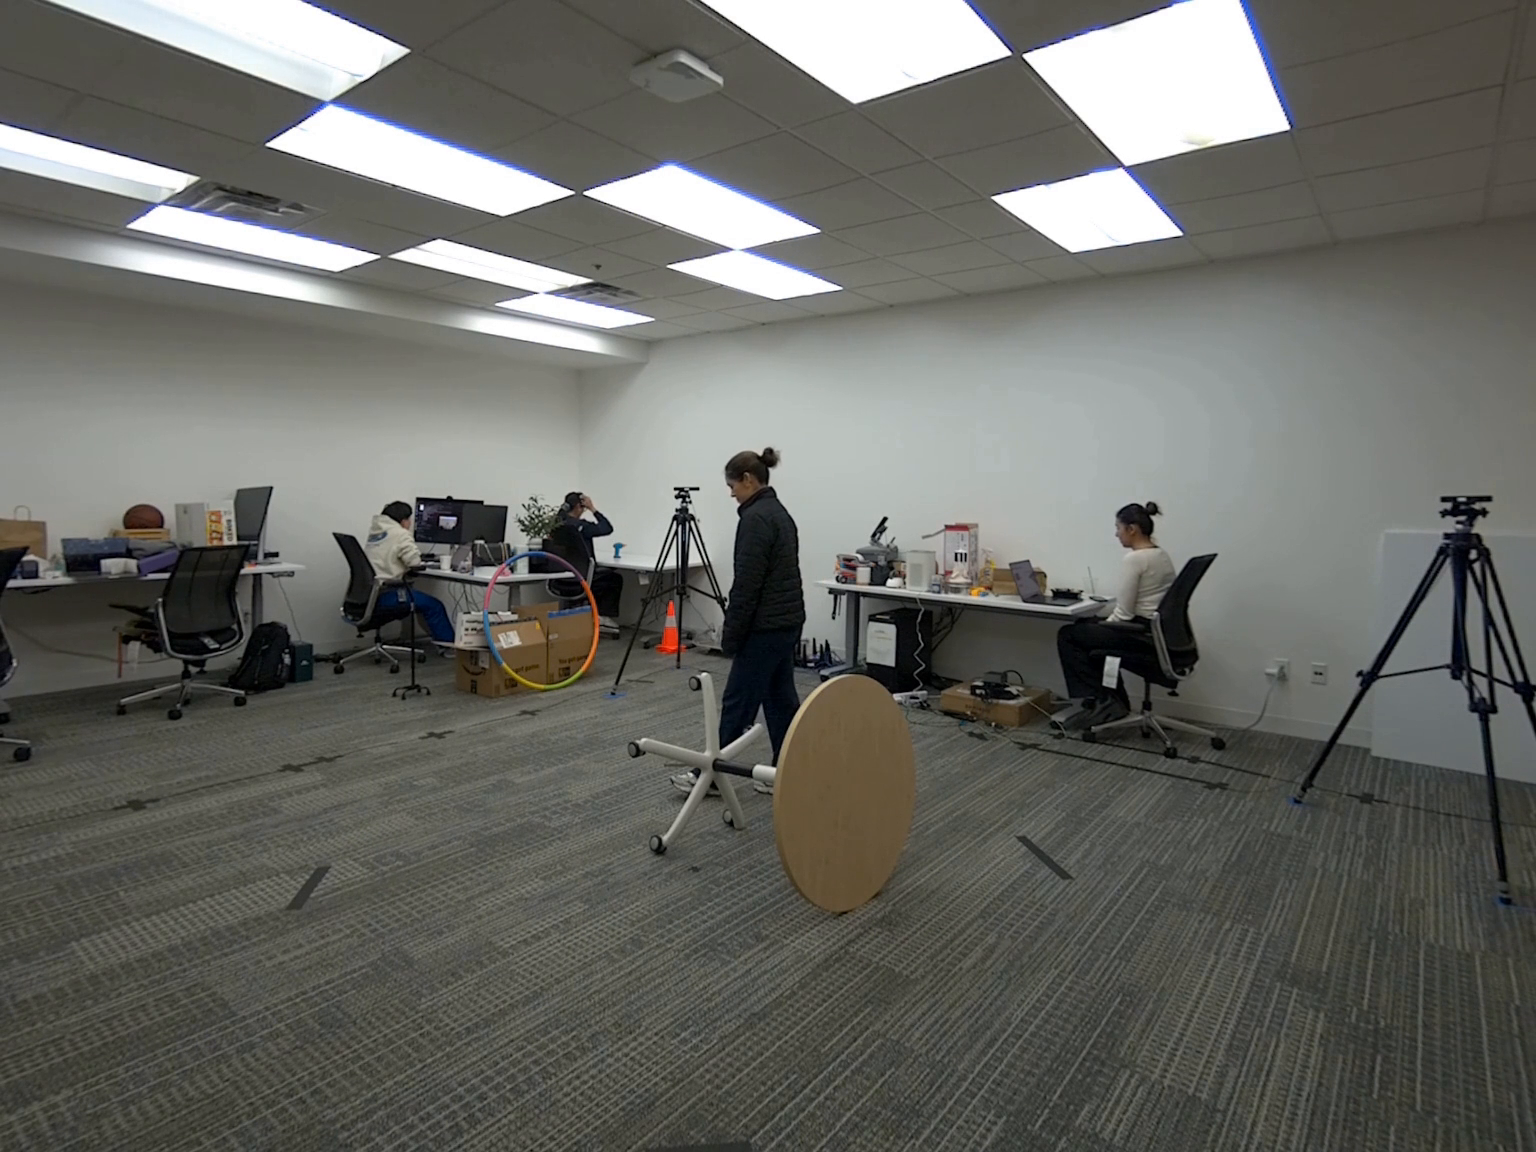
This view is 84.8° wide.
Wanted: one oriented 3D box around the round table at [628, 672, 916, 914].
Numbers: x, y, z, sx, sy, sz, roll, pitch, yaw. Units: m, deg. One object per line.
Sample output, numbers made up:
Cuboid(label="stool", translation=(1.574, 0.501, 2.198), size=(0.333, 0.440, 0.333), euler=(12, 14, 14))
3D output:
Cuboid(label="round table", translation=(0.008, 0.727, 3.158), size=(0.810, 0.786, 0.761), euler=(-3, 0, 44))
